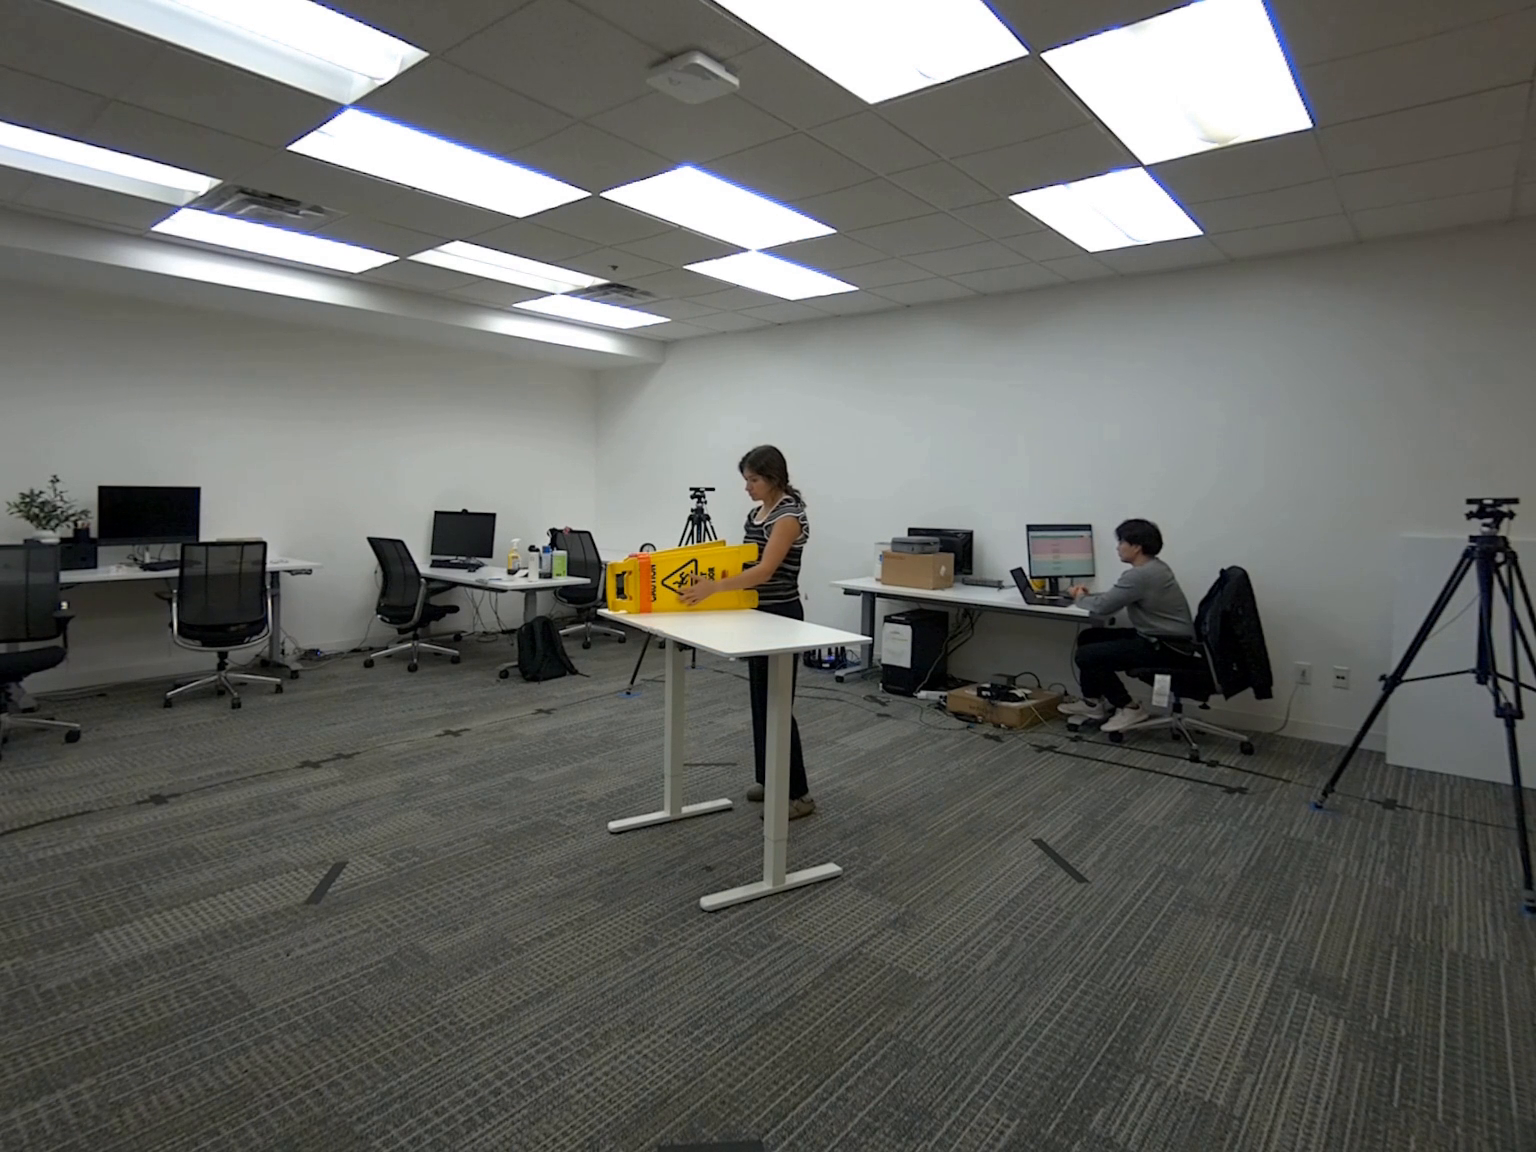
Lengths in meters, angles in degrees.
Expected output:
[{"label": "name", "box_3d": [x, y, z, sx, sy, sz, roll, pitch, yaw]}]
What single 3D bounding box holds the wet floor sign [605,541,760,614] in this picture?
[{"label": "wet floor sign", "box_3d": [-0.387, 0.014, 3.527, 0.629, 0.281, 0.299, -7, 7, -35]}]
